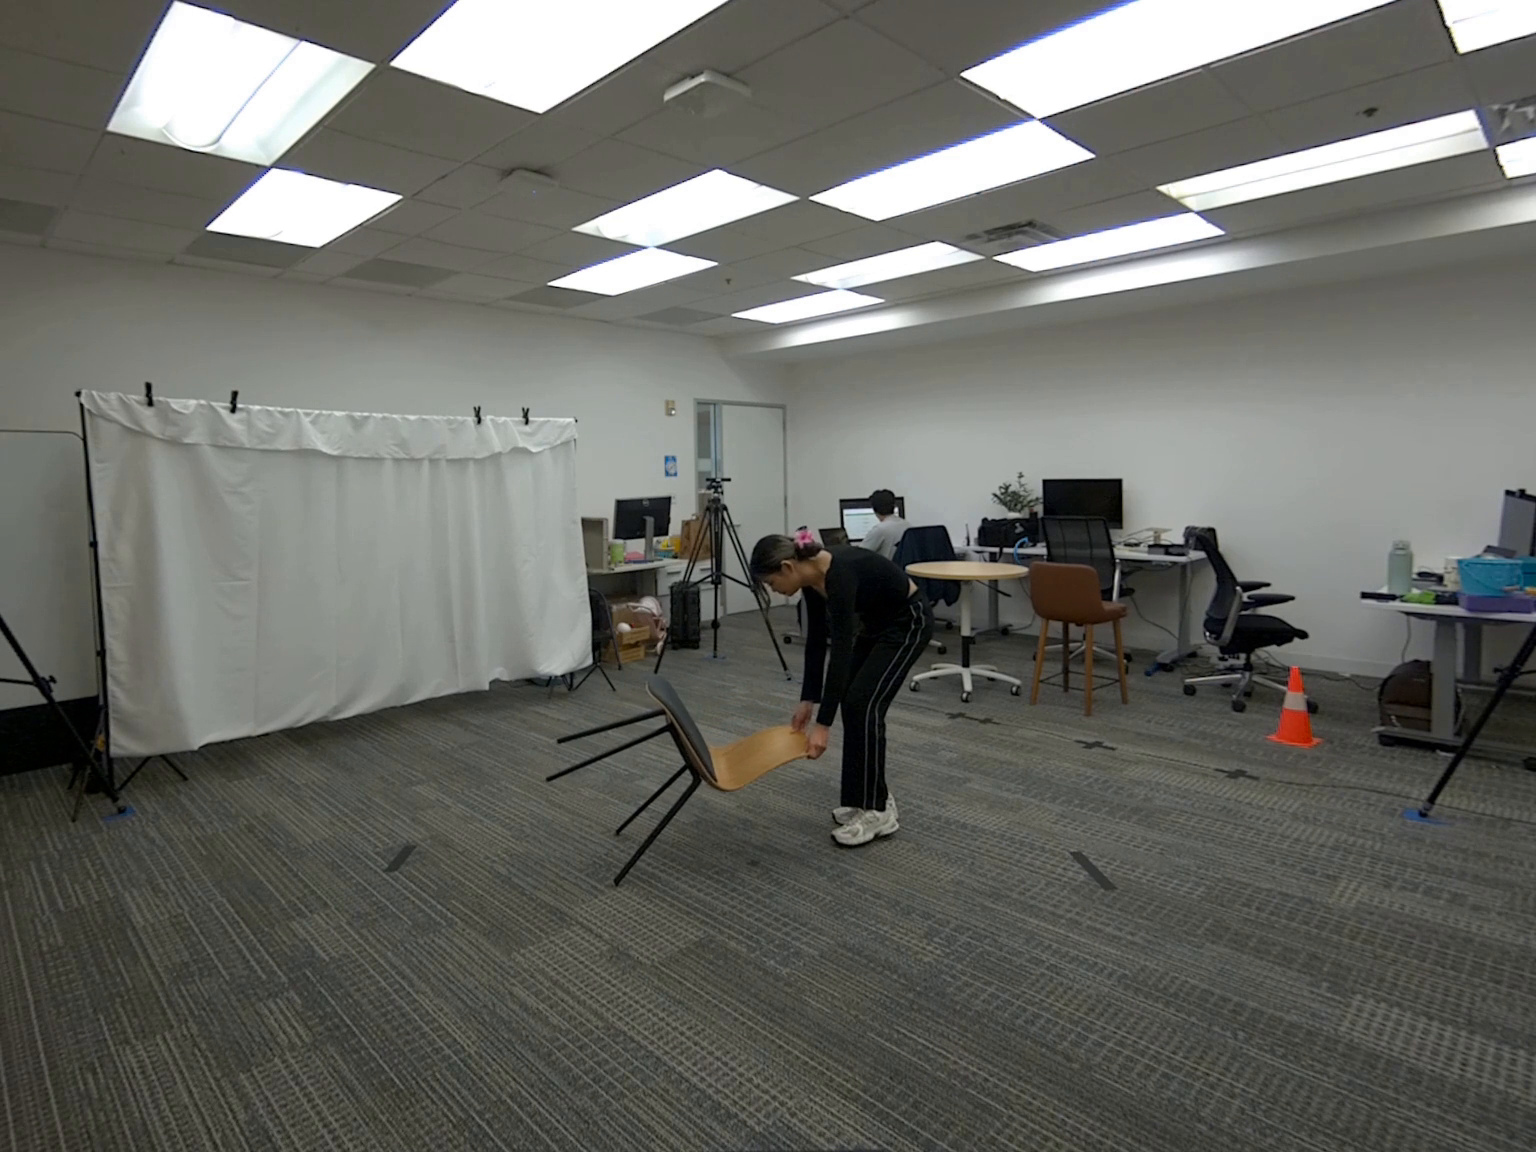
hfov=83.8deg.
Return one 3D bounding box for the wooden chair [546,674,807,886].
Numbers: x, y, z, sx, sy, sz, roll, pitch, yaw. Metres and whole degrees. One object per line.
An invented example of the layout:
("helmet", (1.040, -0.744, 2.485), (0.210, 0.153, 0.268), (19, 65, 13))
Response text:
("wooden chair", (-0.312, 0.620, 3.158), (0.876, 0.519, 0.483), (-27, 7, -4))
